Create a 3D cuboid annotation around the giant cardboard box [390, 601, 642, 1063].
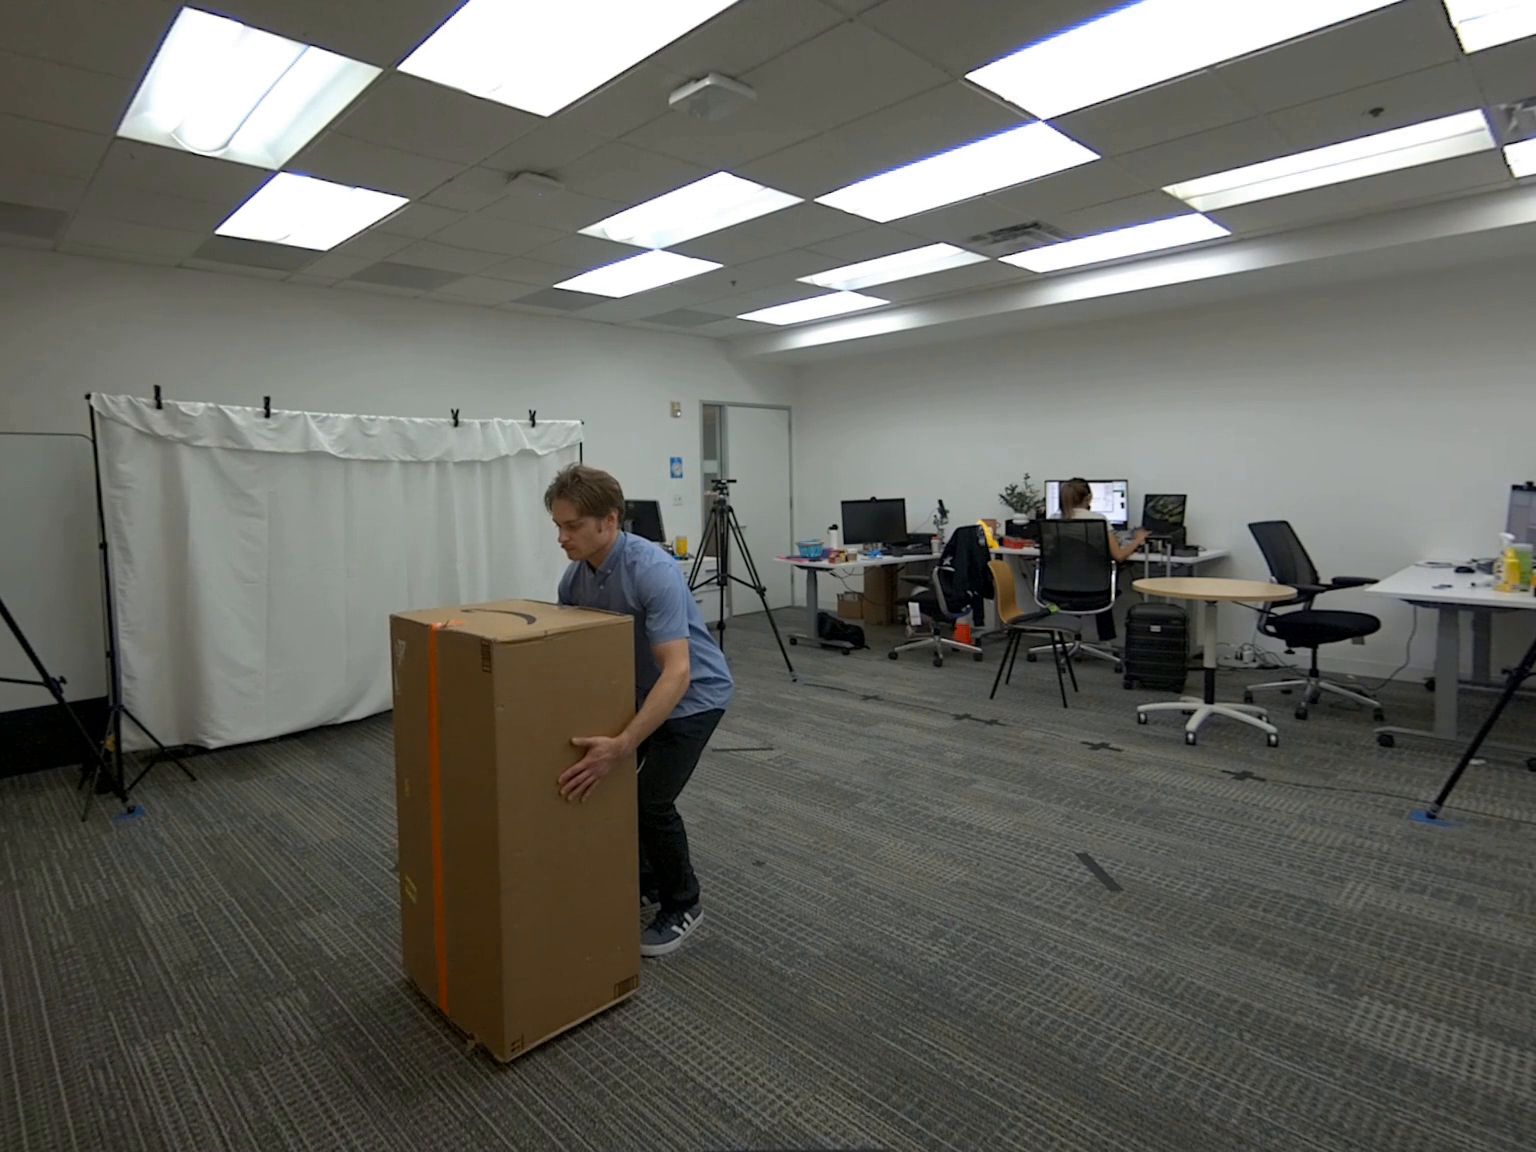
[{"bbox_3d":[-0.698,0.617,2.334,0.415,1.022,0.595,-4,5,-45],"label":"giant cardboard box"}]
